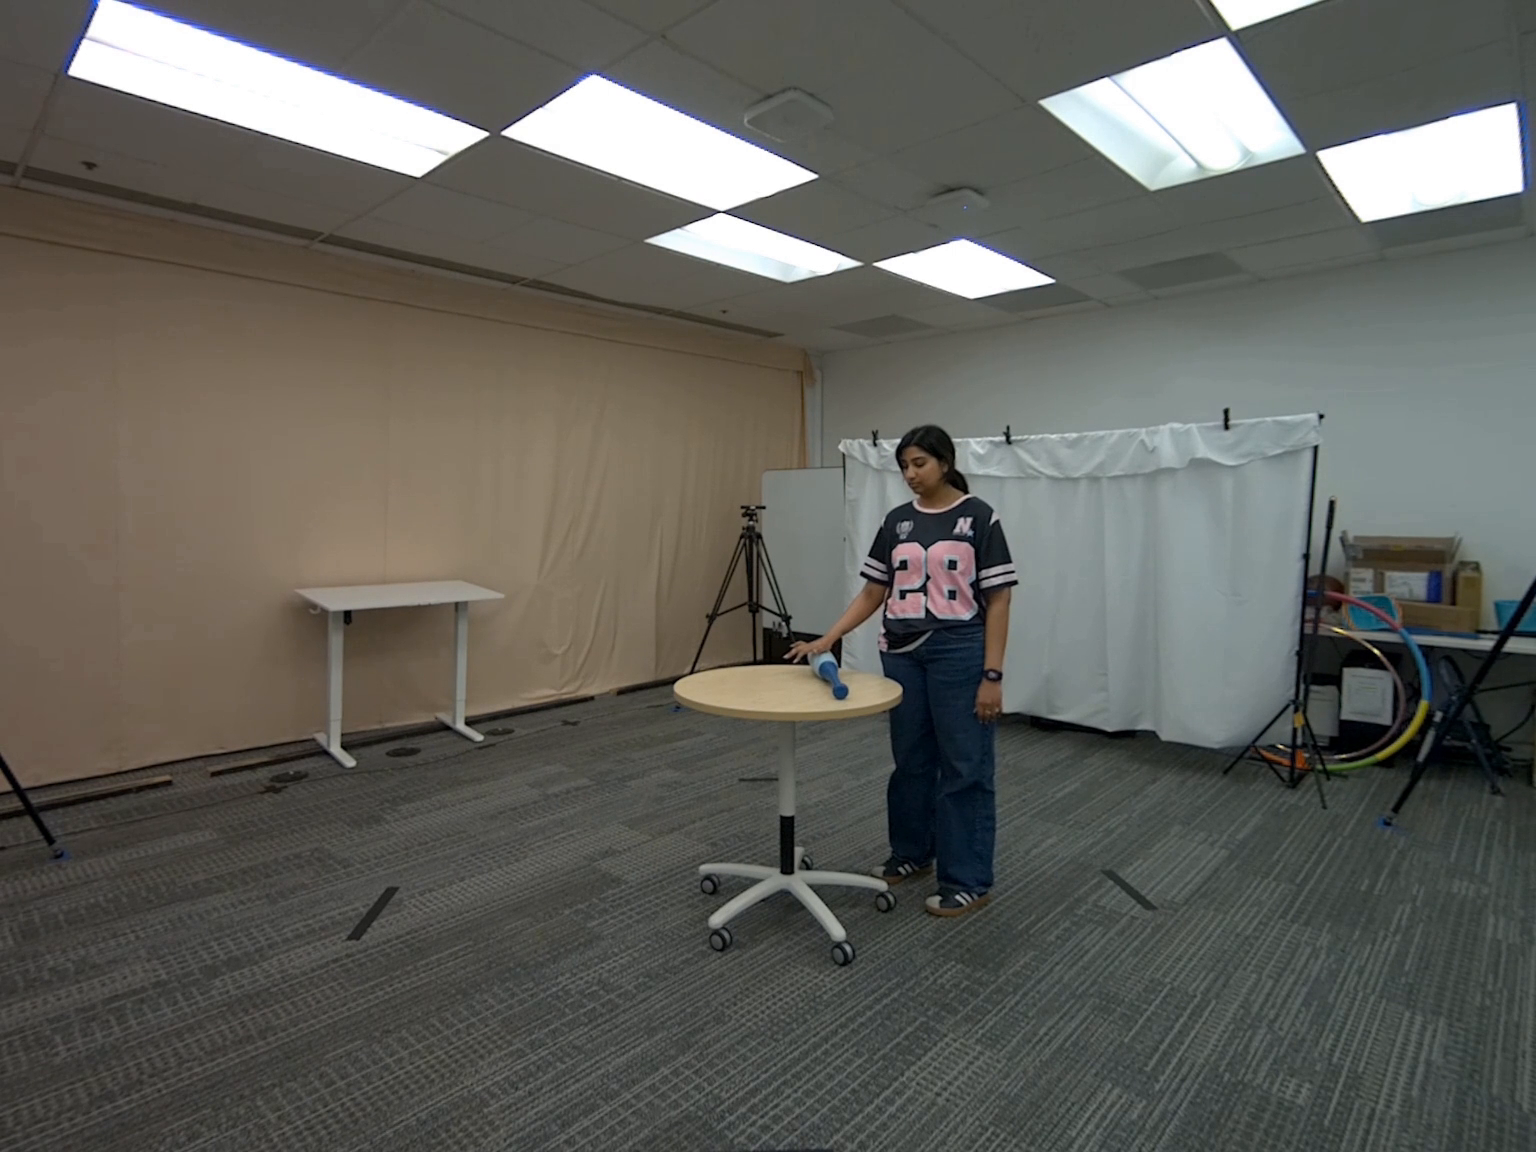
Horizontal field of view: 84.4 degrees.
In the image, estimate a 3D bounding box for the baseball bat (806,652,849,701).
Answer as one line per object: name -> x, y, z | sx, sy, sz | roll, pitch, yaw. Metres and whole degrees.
baseball bat -> 0.218, 0.335, 2.871 | 0.088, 0.089, 0.547 | 0, 6, -6
